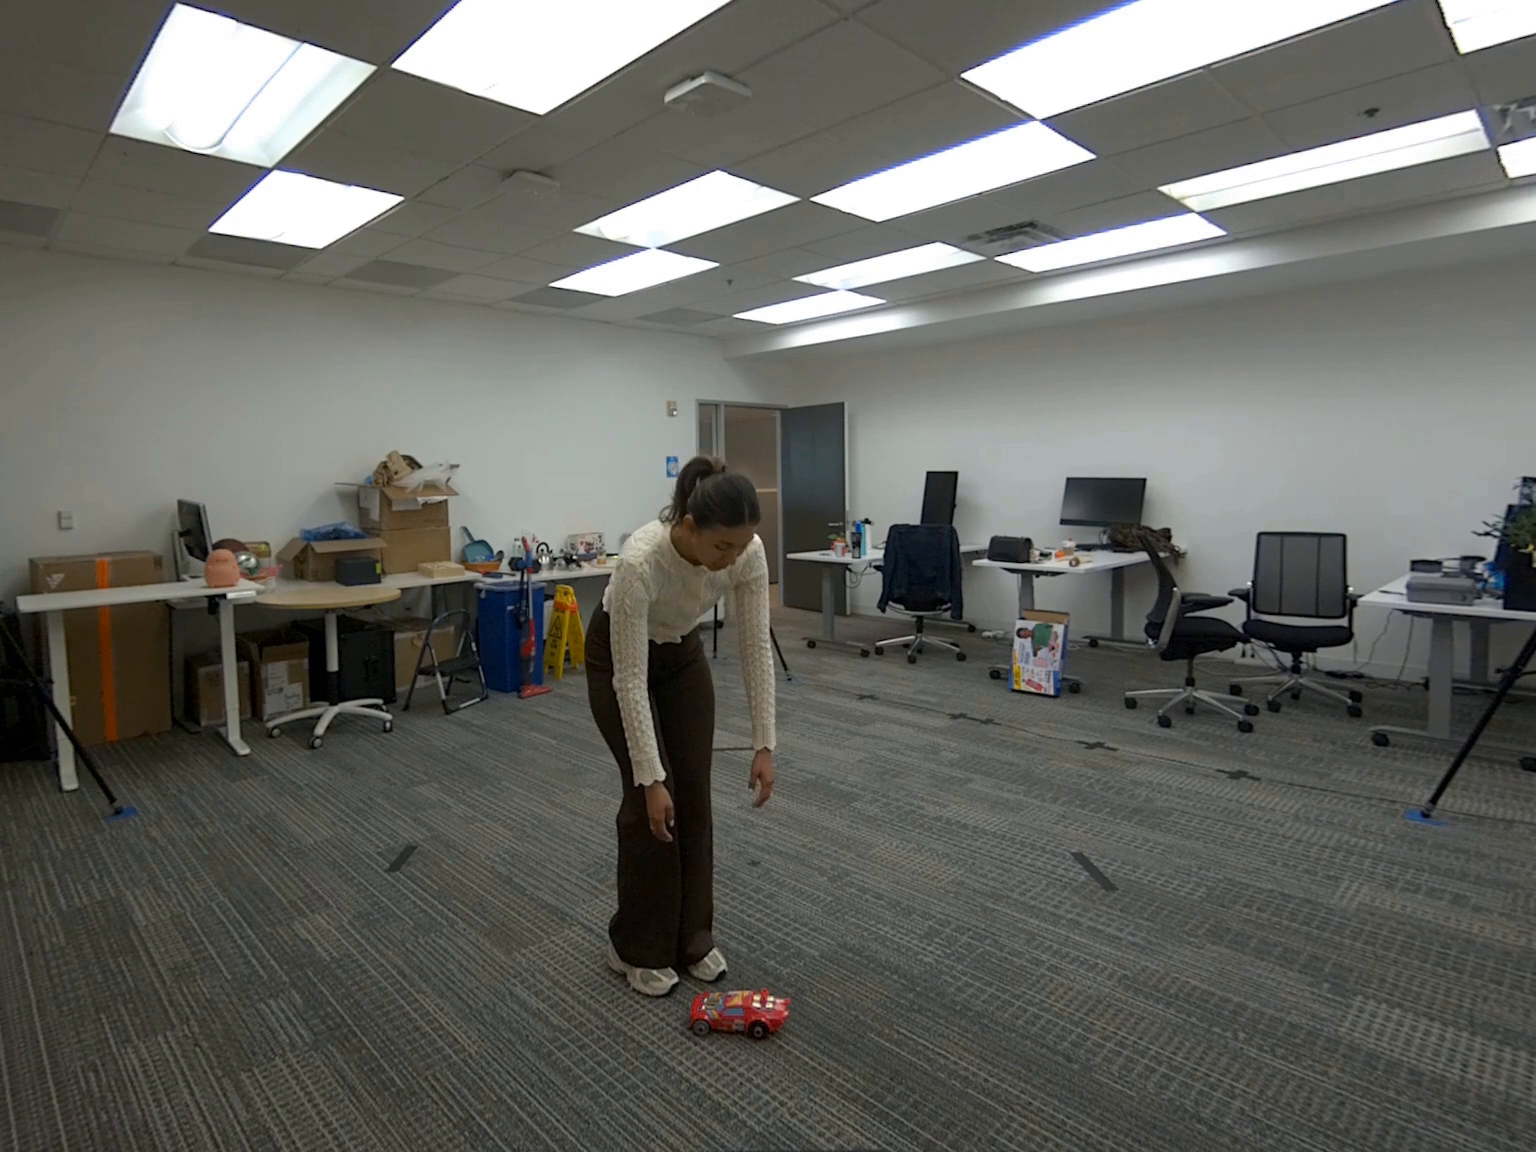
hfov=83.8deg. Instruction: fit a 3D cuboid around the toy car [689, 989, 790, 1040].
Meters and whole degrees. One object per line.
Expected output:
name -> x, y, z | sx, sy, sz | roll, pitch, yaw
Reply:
toy car -> -0.059, 1.124, 2.184 | 0.256, 0.083, 0.130 | -12, 4, 9
